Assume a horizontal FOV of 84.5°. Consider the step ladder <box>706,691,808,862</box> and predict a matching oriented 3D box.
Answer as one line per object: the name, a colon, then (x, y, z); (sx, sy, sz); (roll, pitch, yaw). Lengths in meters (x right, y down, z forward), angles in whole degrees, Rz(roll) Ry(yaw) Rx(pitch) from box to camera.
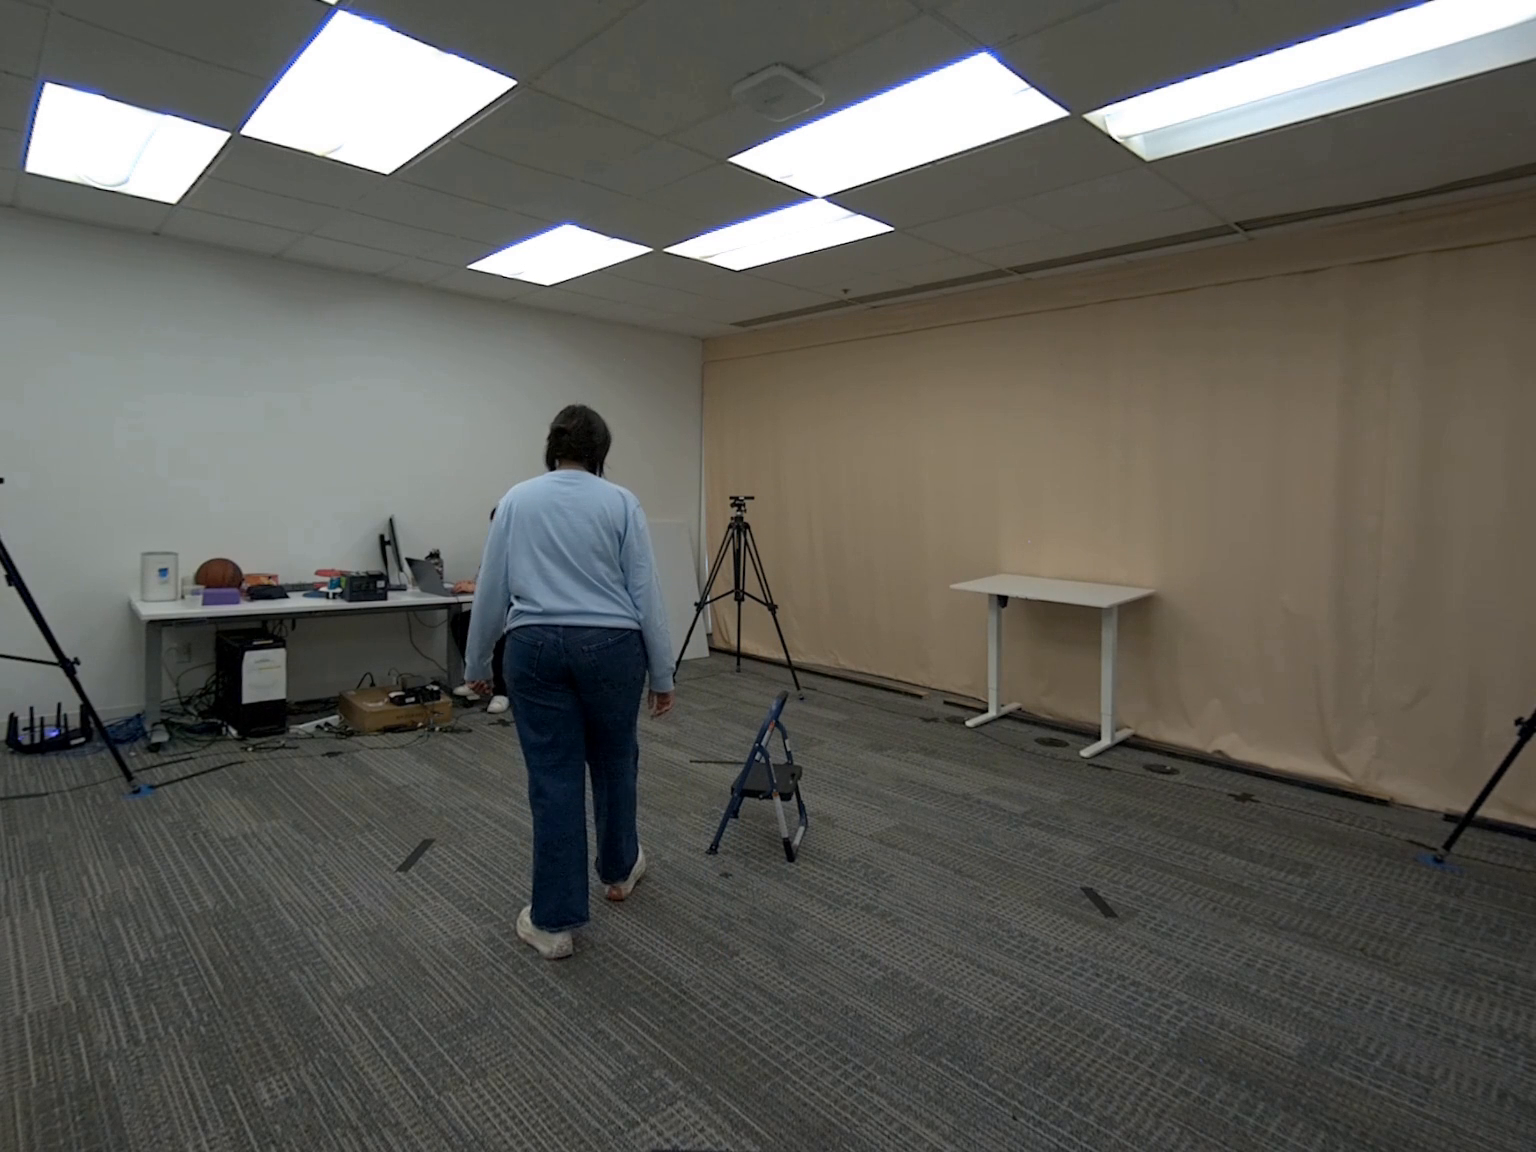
step ladder: (-0.030, 0.774, 3.442); (0.353, 0.605, 0.427); (2, 3, 11)
